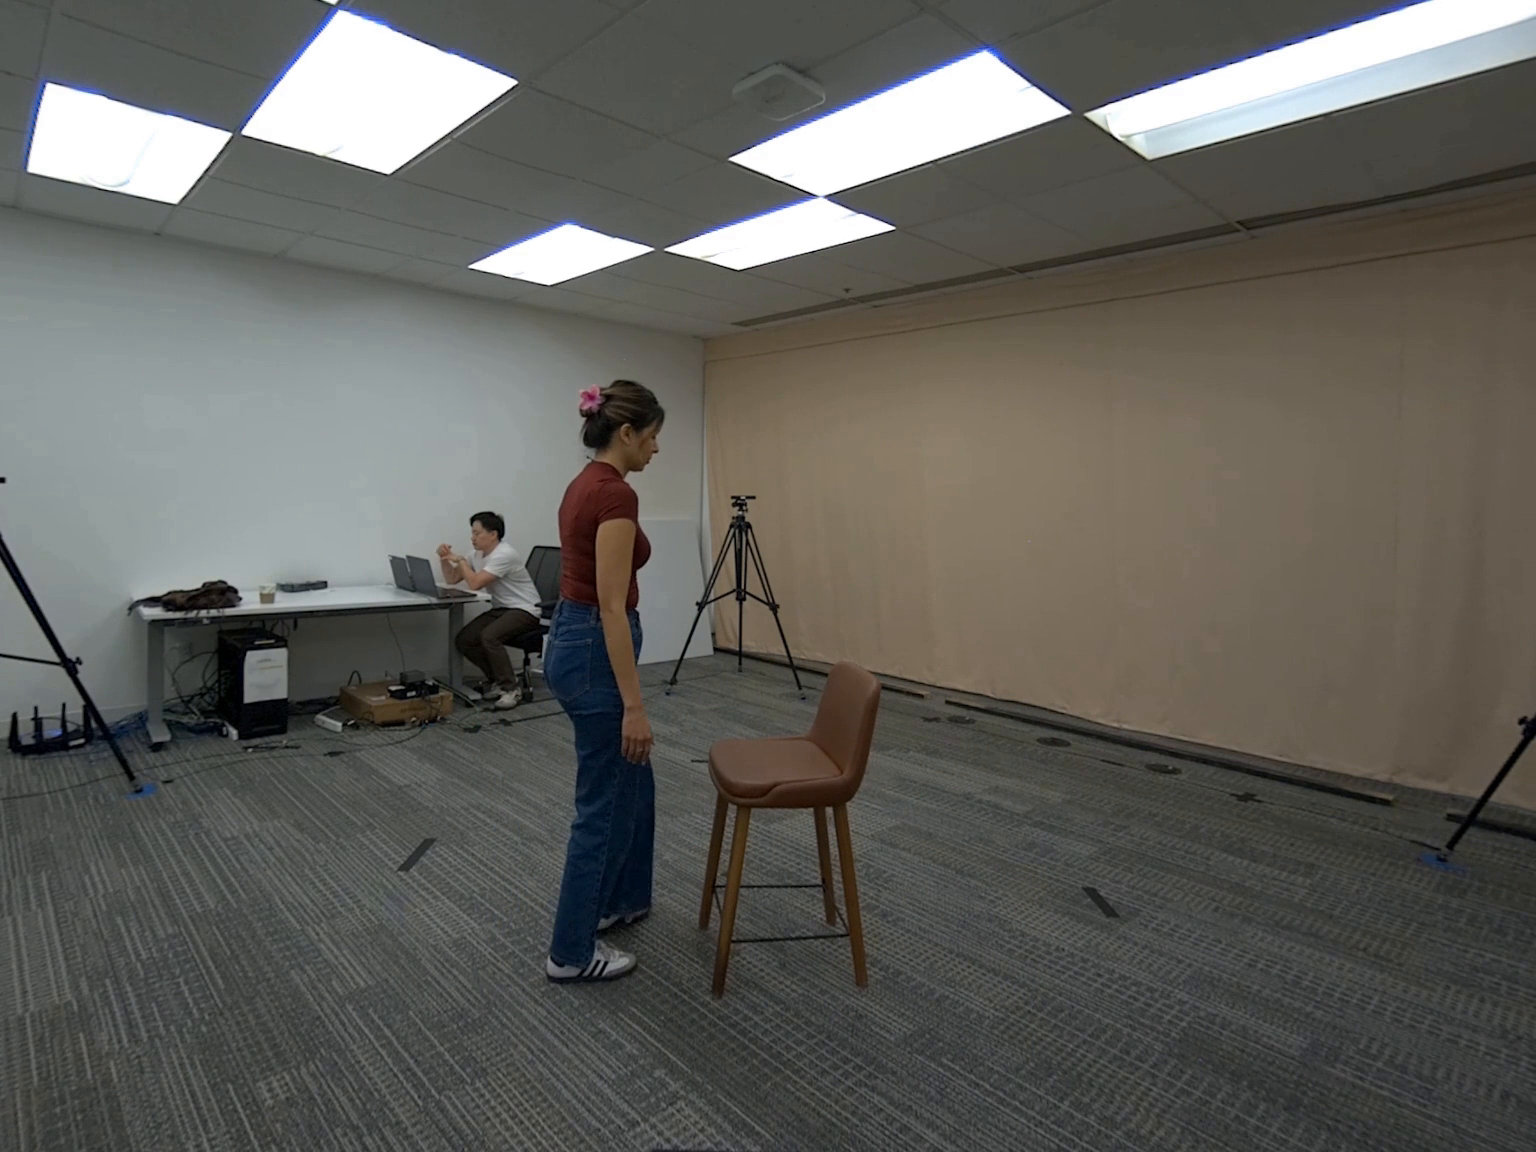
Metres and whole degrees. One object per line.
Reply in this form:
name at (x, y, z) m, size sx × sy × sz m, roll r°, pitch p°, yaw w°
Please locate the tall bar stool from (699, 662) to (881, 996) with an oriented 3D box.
tall bar stool at (0.042, 0.727, 2.534) m, size 0.464 × 0.887 × 0.461 m, roll 2°, pitch 4°, yaw -10°
